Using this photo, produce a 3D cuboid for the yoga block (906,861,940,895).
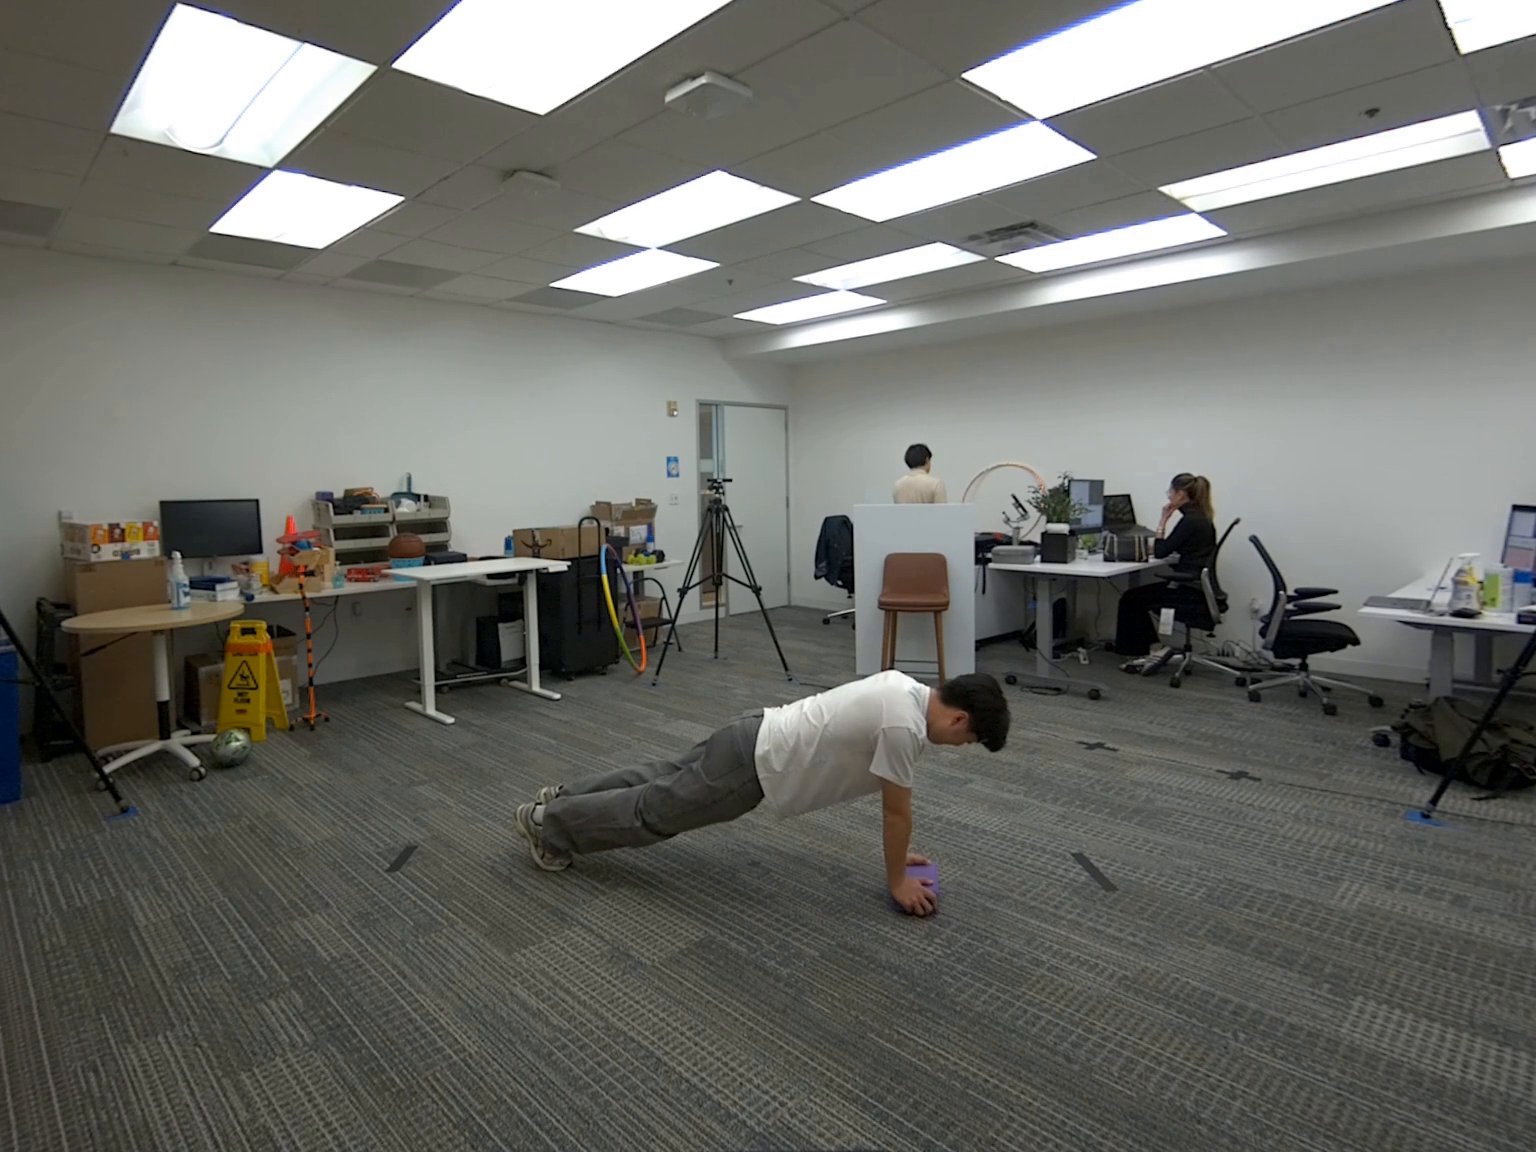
[{"bbox_3d":[0.486,1.027,2.834,0.151,0.076,0.227,0,6,12],"label":"yoga block"}]
